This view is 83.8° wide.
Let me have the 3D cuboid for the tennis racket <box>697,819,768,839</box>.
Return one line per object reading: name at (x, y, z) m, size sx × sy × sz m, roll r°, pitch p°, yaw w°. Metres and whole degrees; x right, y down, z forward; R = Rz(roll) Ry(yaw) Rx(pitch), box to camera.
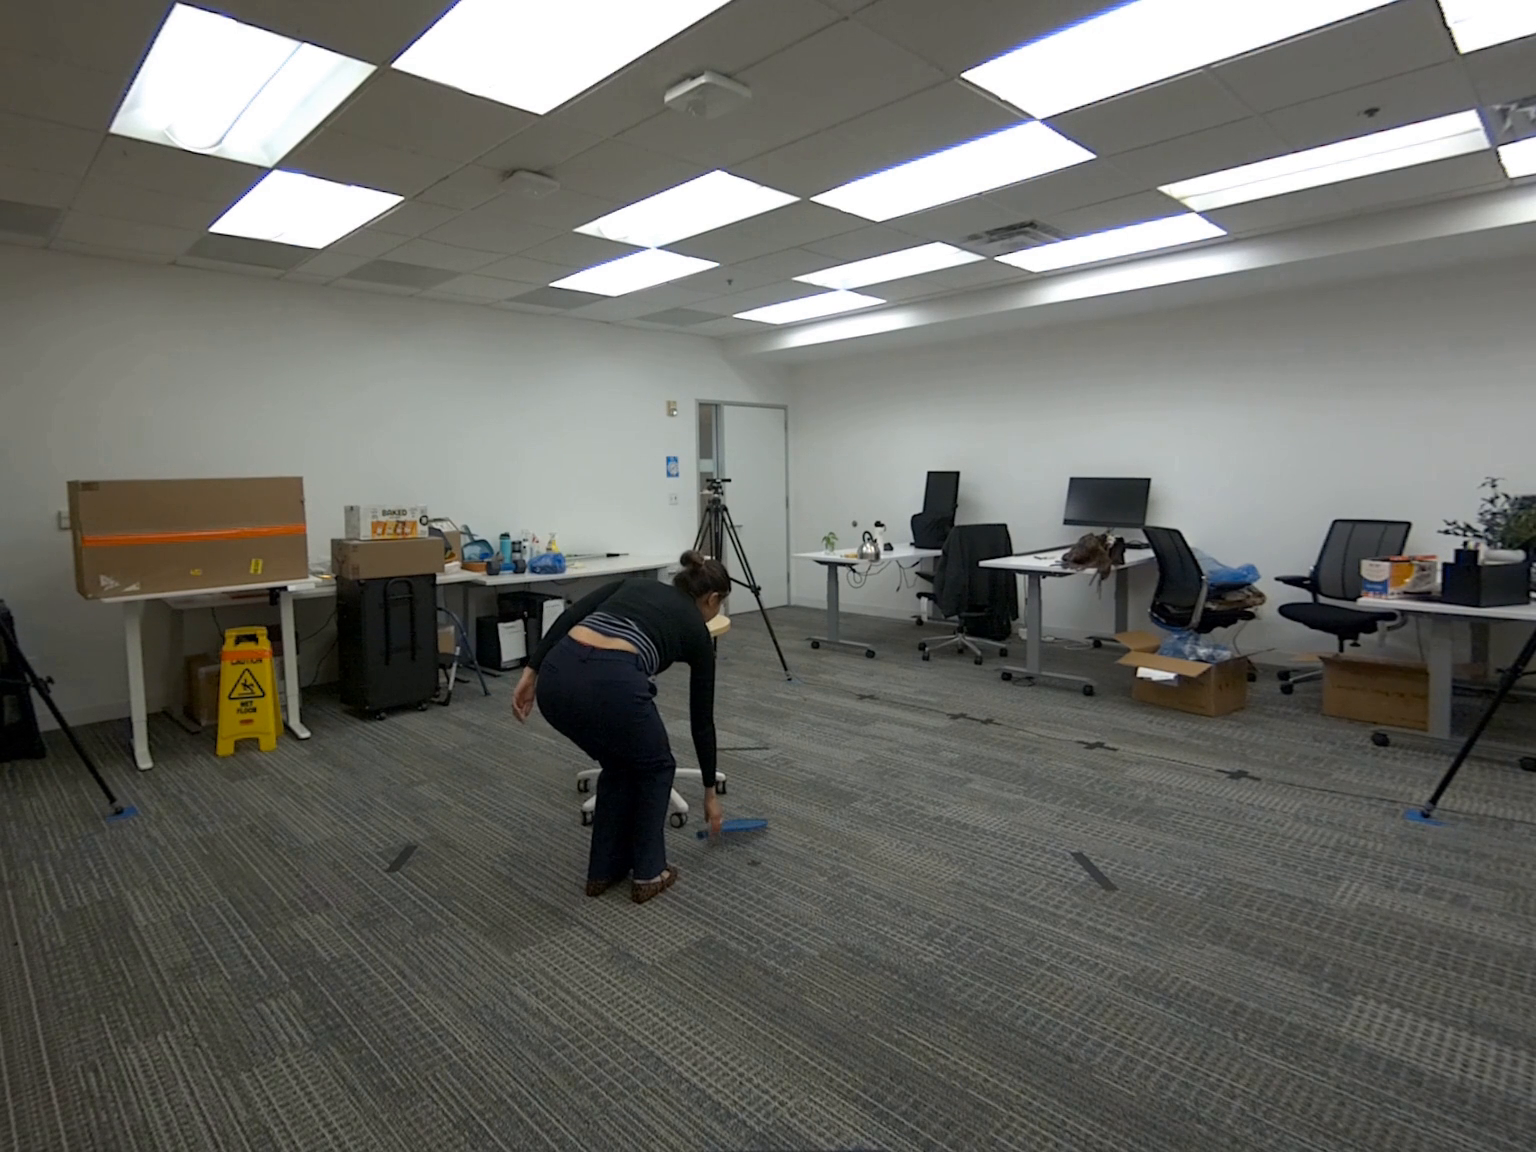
tennis racket at (-0.141, 0.969, 3.303) m, size 0.218 × 0.032 × 0.420 m, roll -5°, pitch -8°, yaw 26°
